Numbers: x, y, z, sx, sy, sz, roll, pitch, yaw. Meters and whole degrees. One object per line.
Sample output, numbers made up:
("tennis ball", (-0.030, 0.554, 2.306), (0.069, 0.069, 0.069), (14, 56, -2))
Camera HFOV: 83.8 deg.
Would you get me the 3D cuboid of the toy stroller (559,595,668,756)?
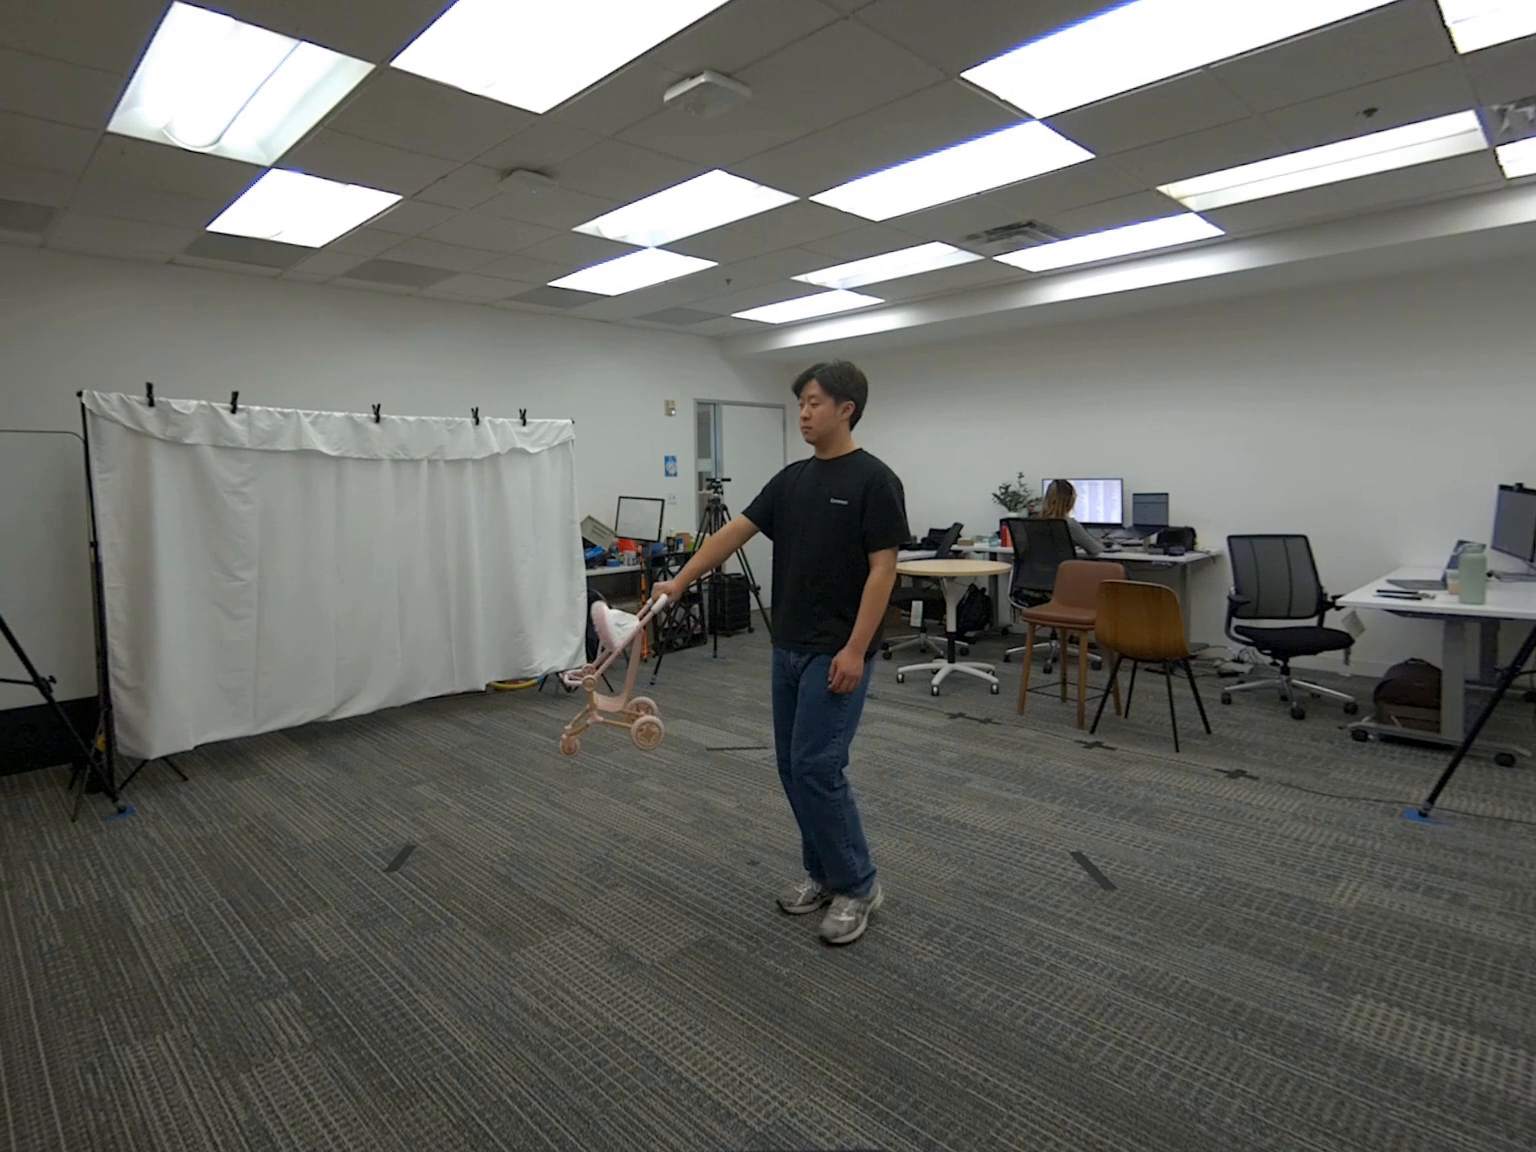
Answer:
("toy stroller", (-0.500, 0.320, 2.755), (0.339, 0.534, 0.284), (1, 3, -6))
